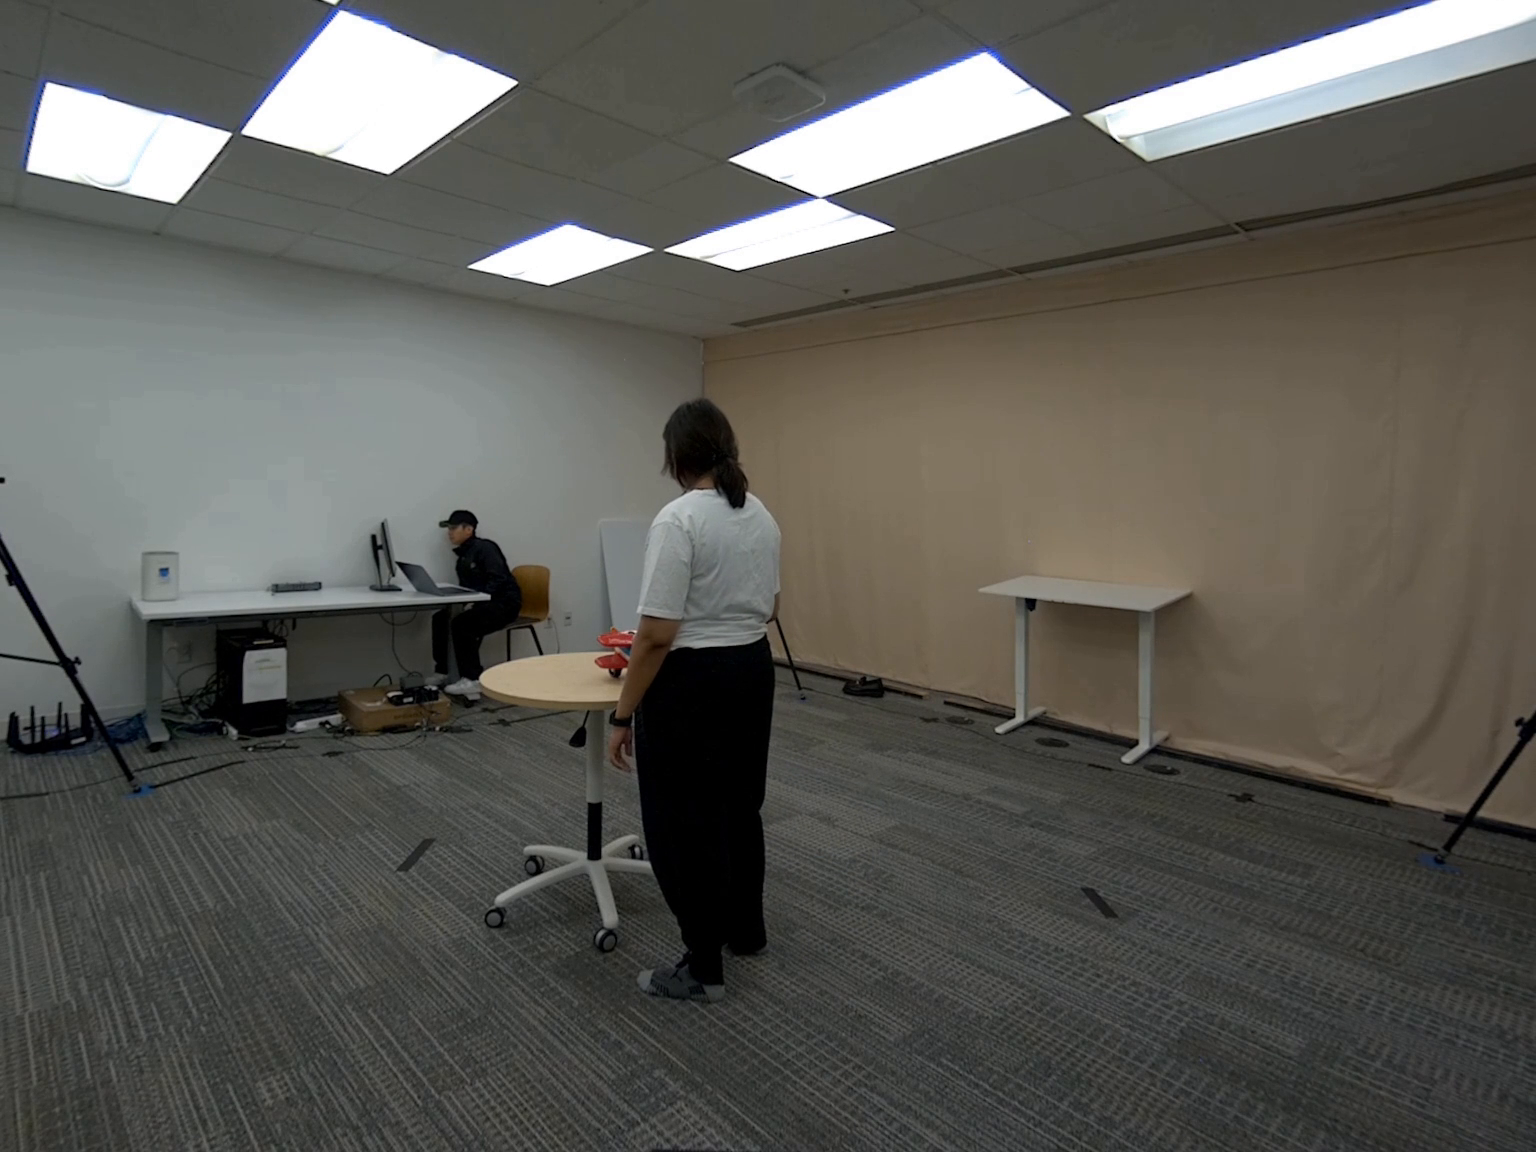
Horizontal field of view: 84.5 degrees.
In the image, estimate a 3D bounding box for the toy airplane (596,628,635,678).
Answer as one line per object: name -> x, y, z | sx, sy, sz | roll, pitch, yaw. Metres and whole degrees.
toy airplane -> -0.418, 0.269, 2.778 | 0.264, 0.156, 0.247 | 3, 5, 27
